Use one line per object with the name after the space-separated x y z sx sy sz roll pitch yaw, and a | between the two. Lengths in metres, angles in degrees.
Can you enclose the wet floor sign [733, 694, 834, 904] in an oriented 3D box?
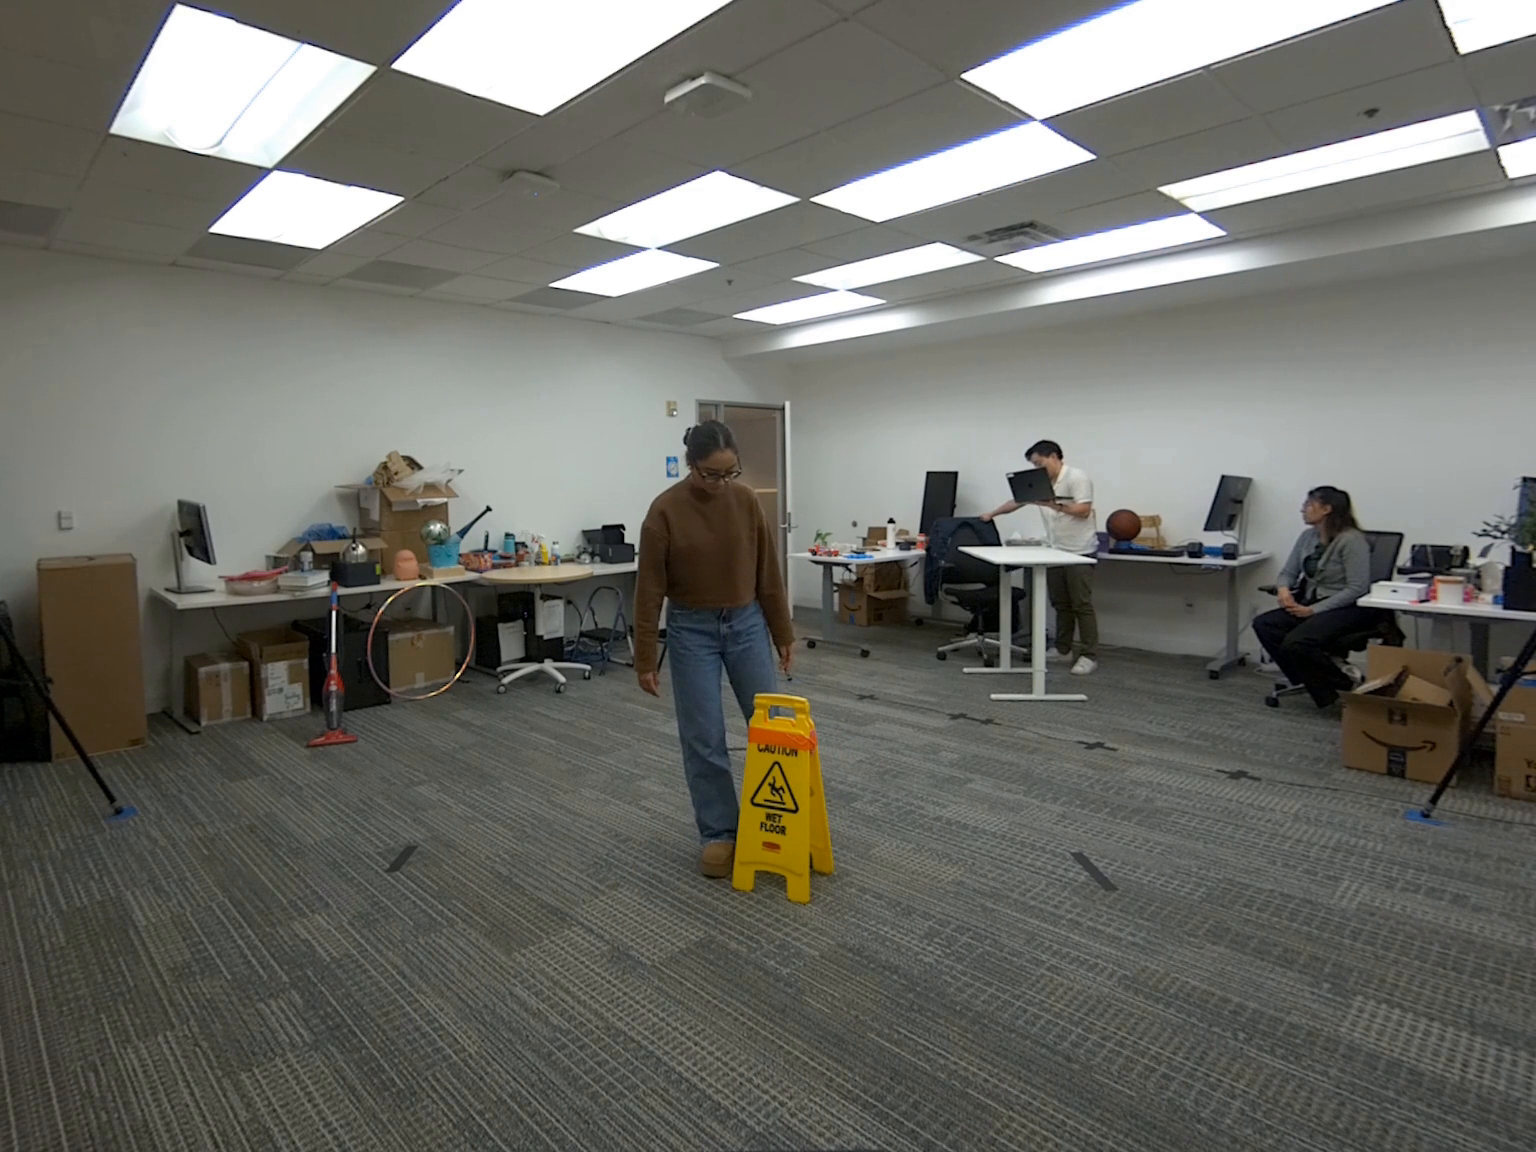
0.056 0.737 2.948 0.289 0.644 0.284 0 4 26 | wet floor sign
